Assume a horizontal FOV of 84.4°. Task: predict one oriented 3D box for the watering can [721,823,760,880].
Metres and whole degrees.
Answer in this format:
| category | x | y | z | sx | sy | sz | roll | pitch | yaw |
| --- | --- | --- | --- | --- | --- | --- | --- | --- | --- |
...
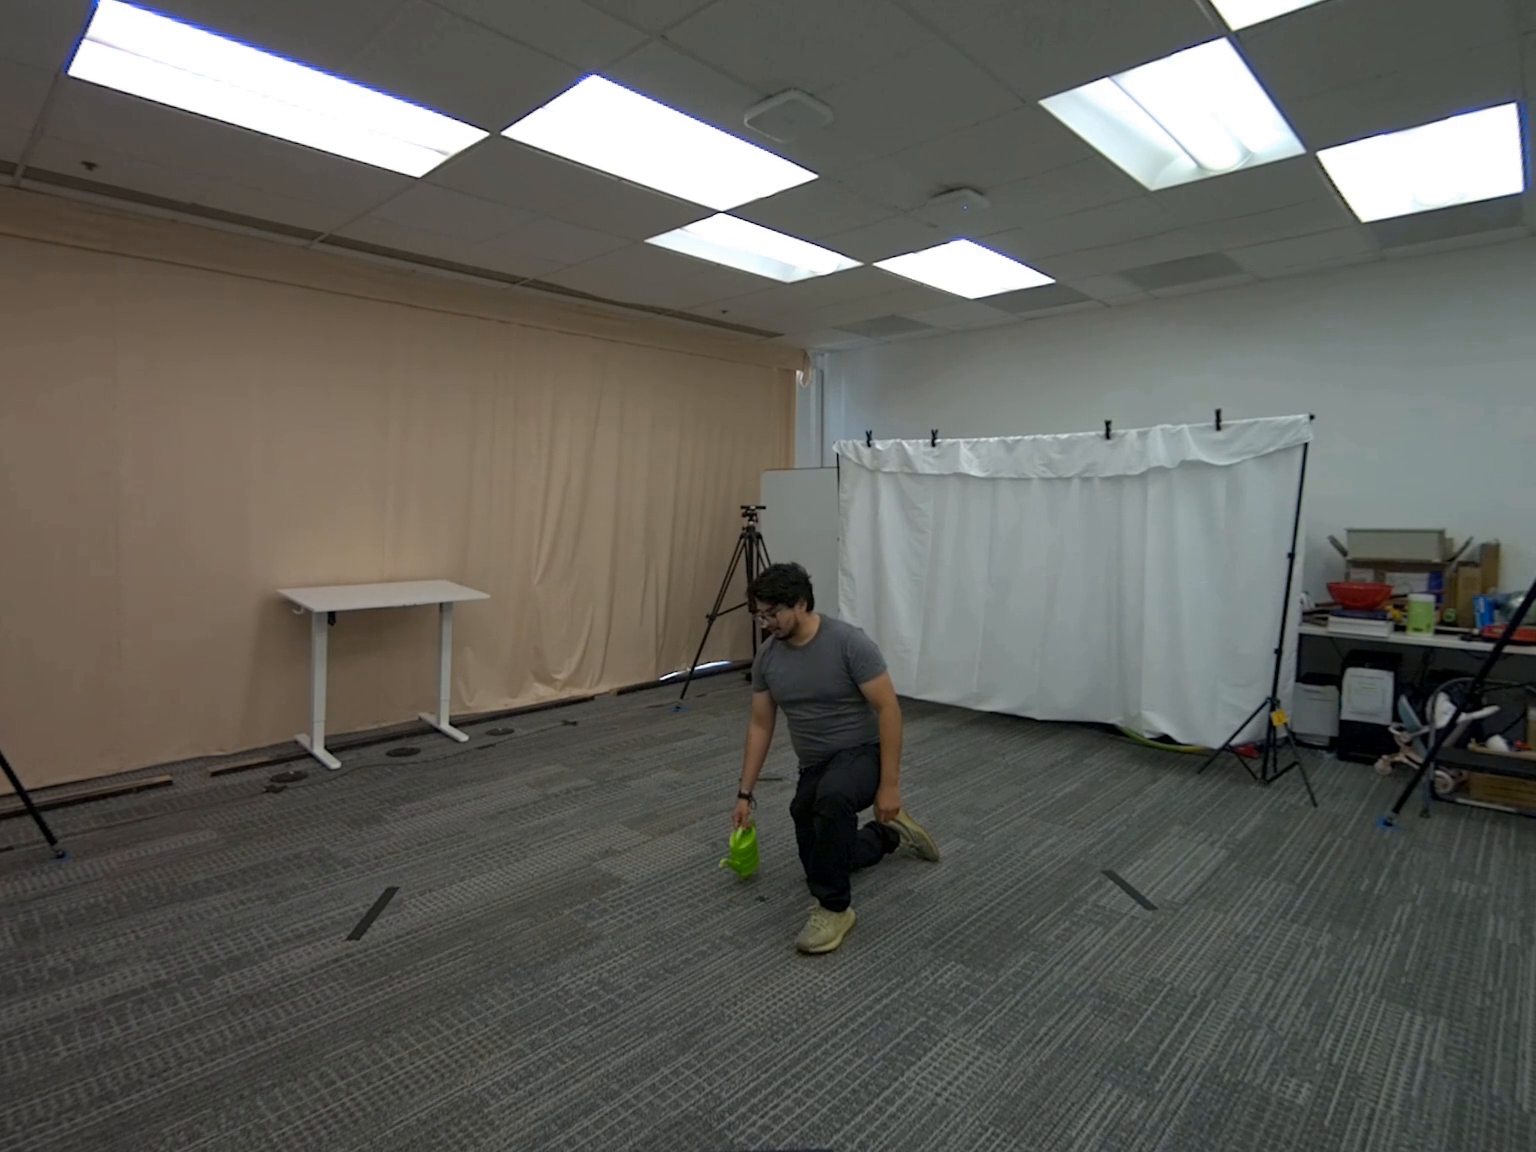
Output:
| category | x | y | z | sx | sy | sz | roll | pitch | yaw |
| --- | --- | --- | --- | --- | --- | --- | --- | --- | --- |
| watering can | -0.108 | 1.021 | 3.069 | 0.101 | 0.174 | 0.274 | 9 | 31 | 36 |
